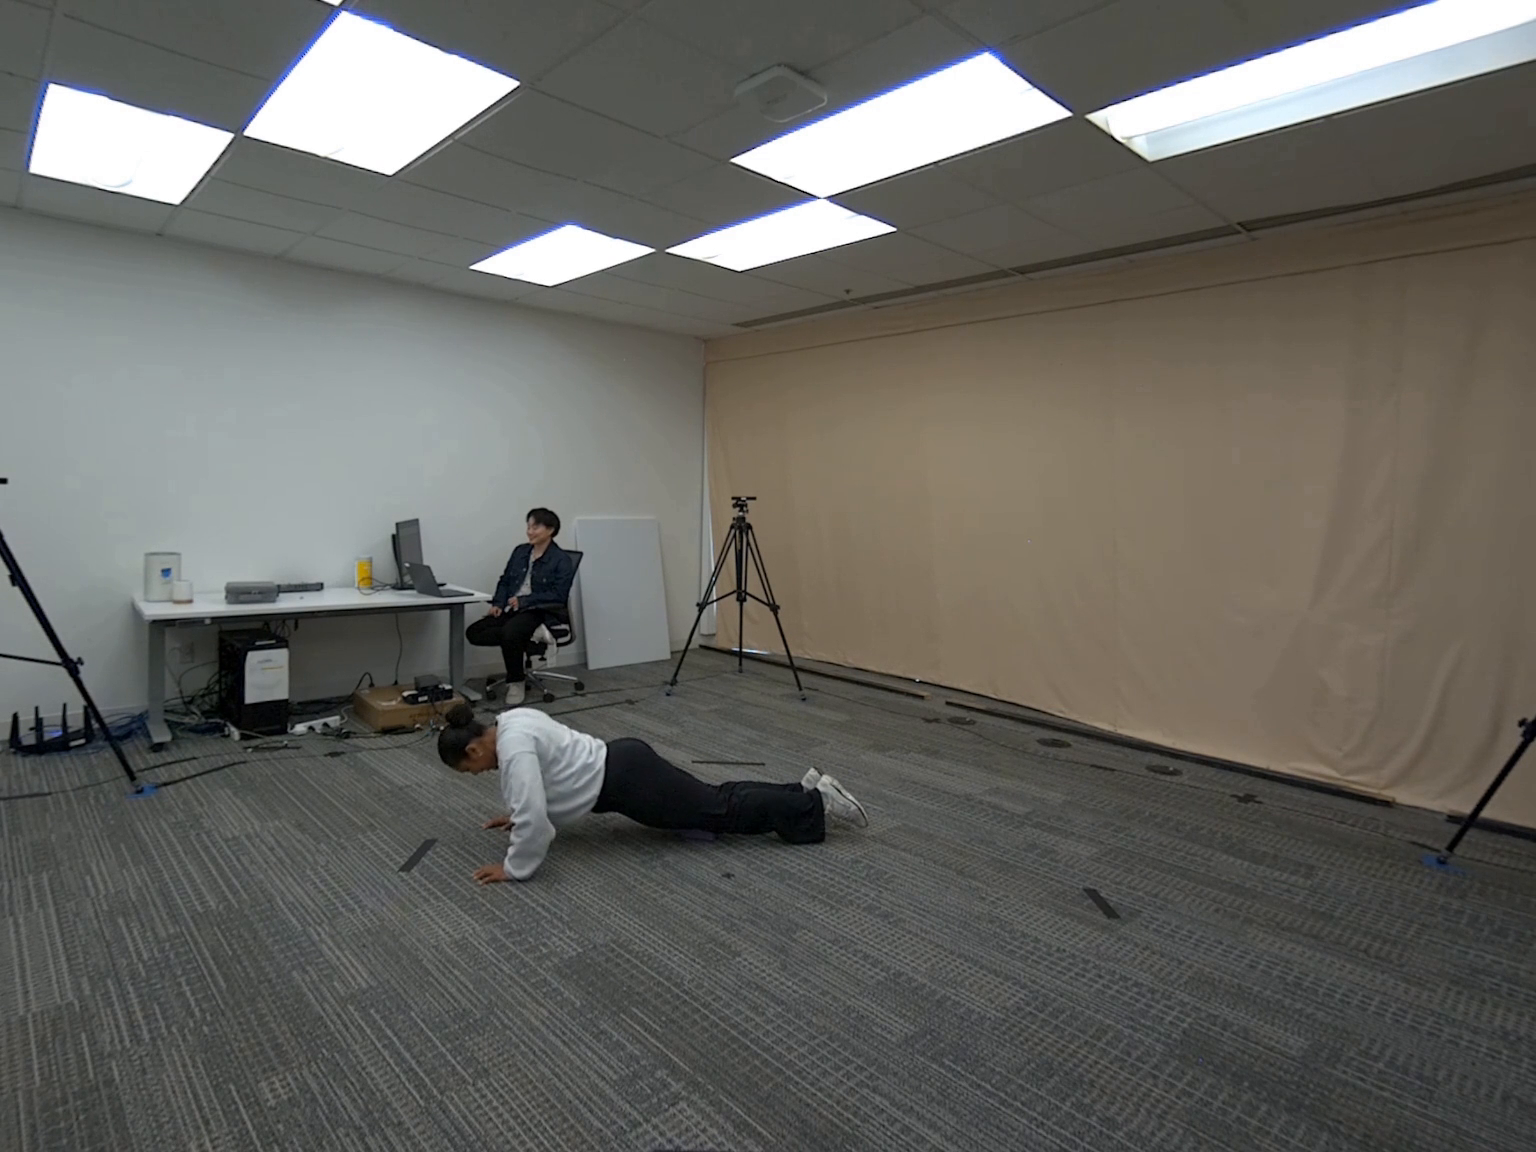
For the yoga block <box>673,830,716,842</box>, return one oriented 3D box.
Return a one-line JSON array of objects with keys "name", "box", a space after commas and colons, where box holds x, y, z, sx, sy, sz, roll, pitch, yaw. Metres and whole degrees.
[{"name": "yoga block", "box": [-0.266, 1.025, 3.524, 0.150, 0.076, 0.228, 3, 6, 10]}]
